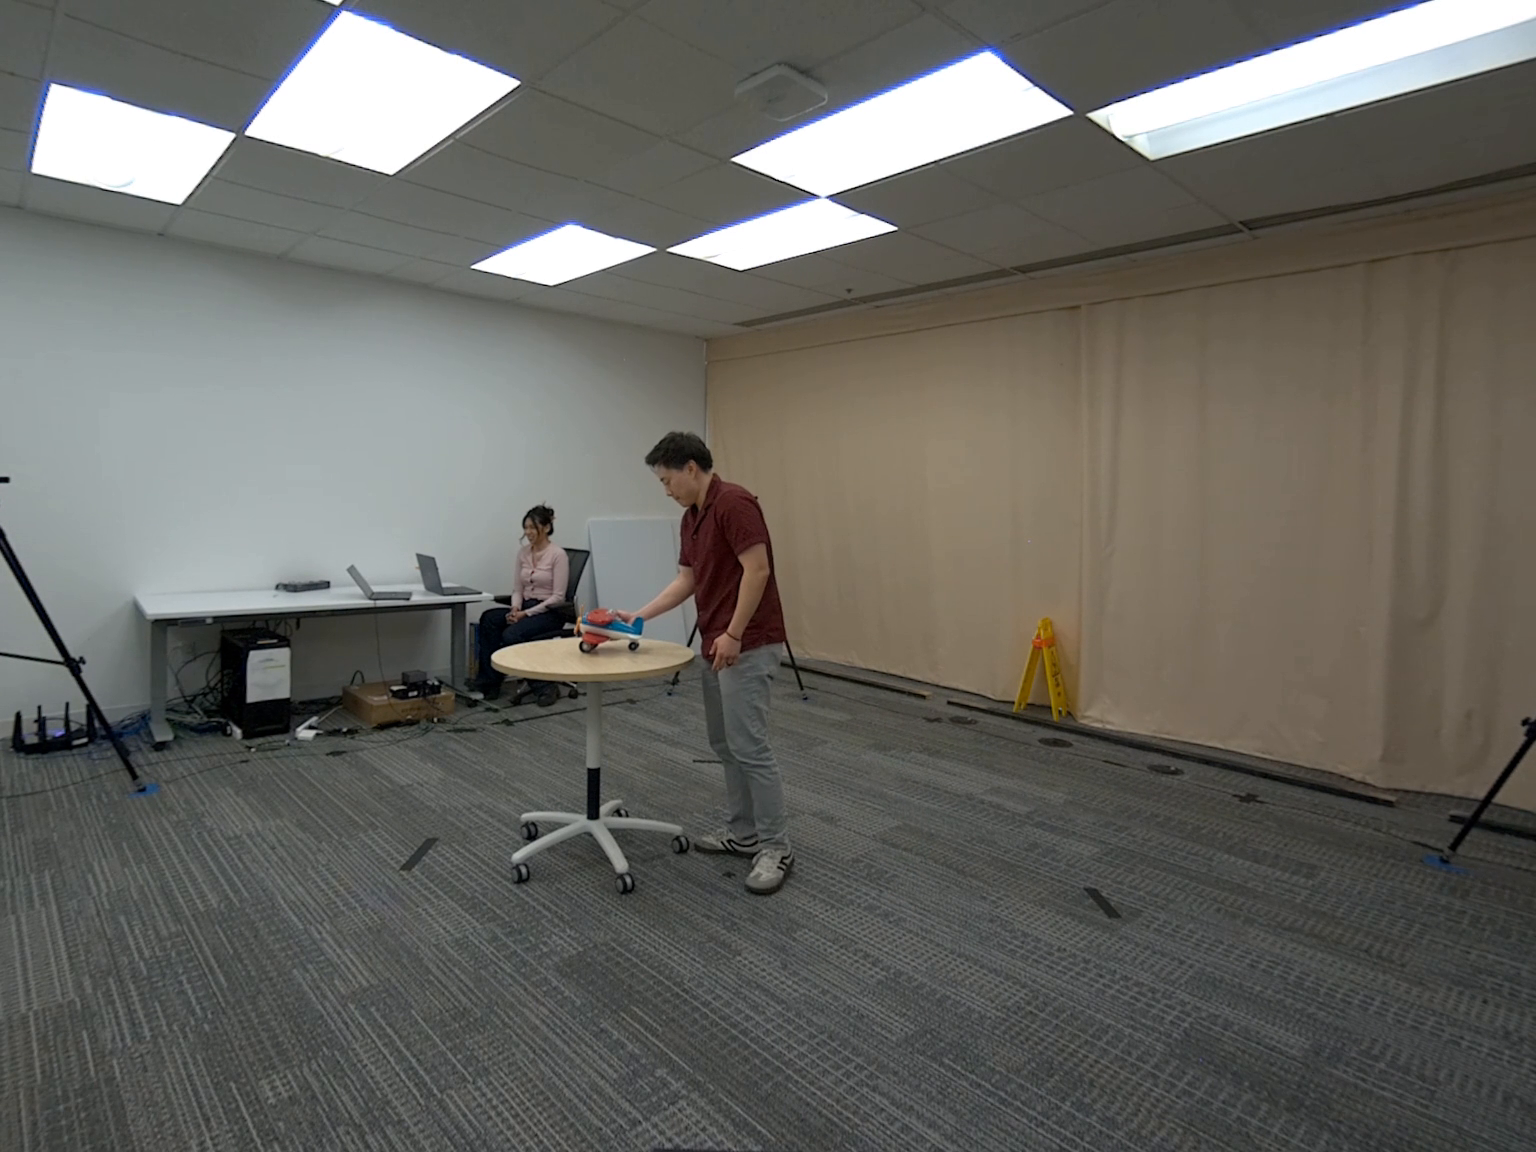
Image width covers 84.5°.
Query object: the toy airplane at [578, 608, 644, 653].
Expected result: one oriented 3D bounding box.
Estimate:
[{"bbox_3d":[-0.618,0.209,3.275,0.255,0.156,0.256,-4,7,-26],"label":"toy airplane"}]
